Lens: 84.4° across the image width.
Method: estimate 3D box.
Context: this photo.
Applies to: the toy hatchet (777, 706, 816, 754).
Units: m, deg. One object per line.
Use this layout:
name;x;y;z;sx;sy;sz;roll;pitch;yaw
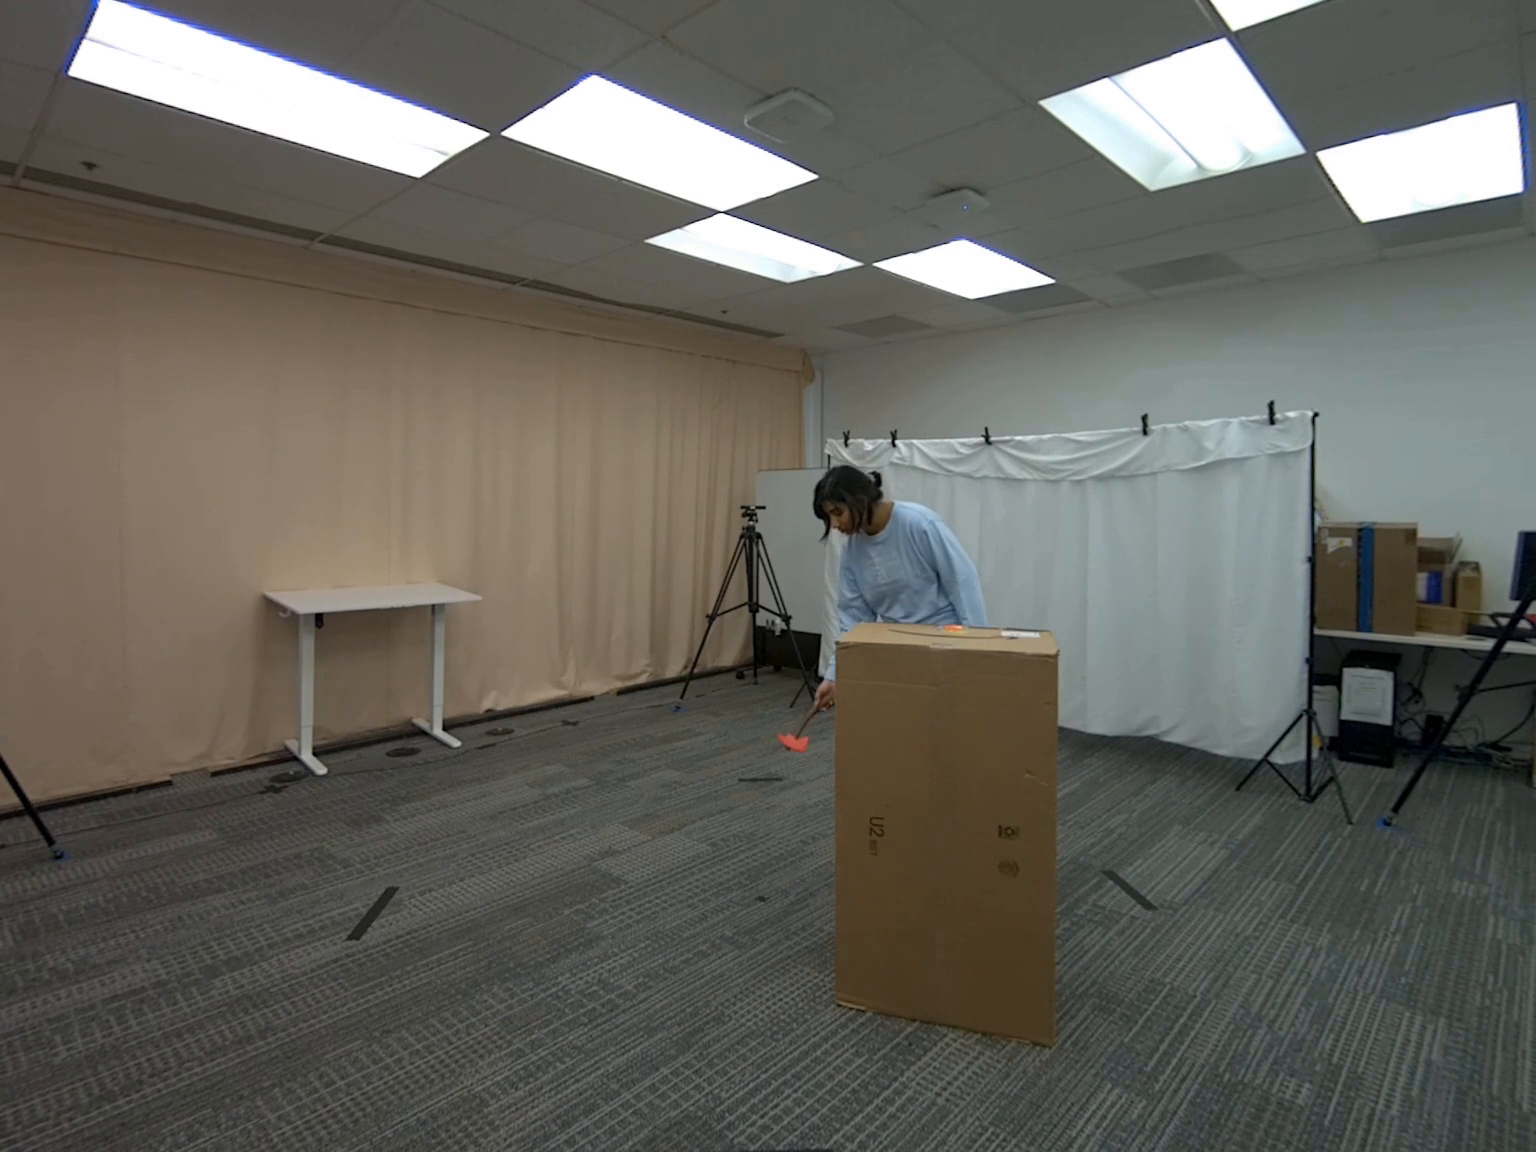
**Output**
toy hatchet;0.170;0.561;3.163;0.136;0.270;0.028;50;0;43
